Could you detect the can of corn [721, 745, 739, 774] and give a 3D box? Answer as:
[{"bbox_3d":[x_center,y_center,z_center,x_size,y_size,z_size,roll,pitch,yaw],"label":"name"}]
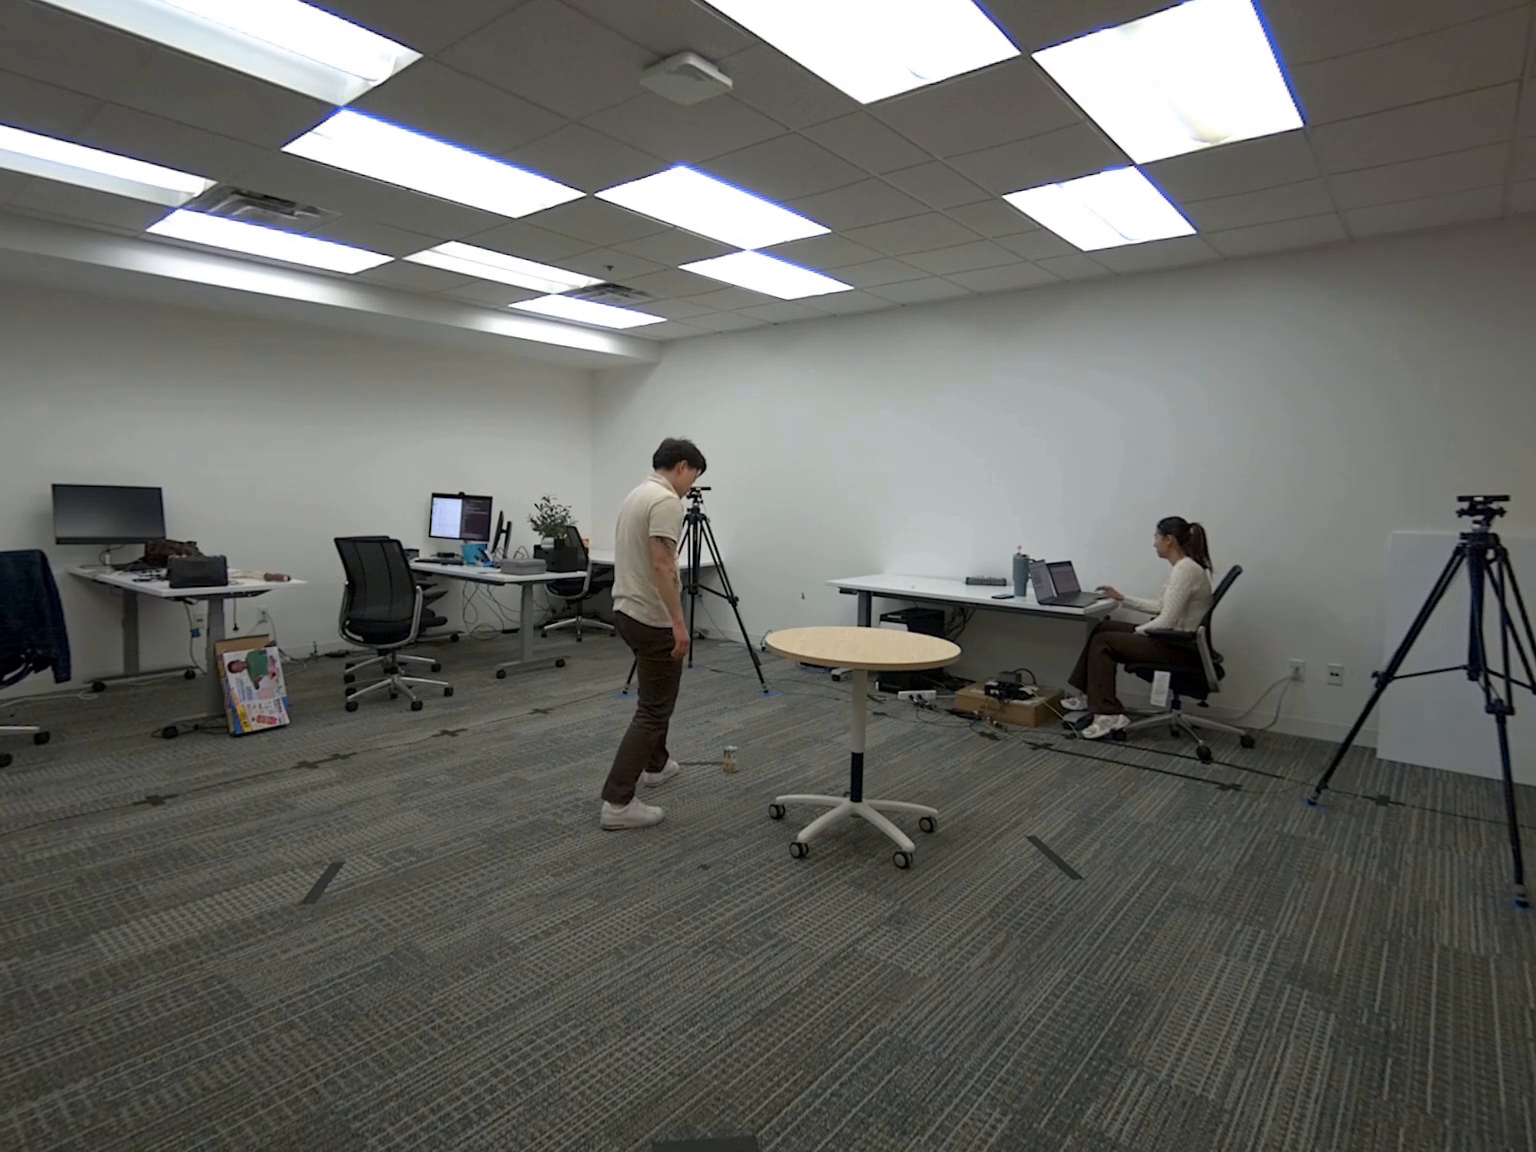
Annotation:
[{"bbox_3d":[-0.195,0.905,4.206,0.074,0.111,0.074,-1,3,-2],"label":"can of corn"}]
